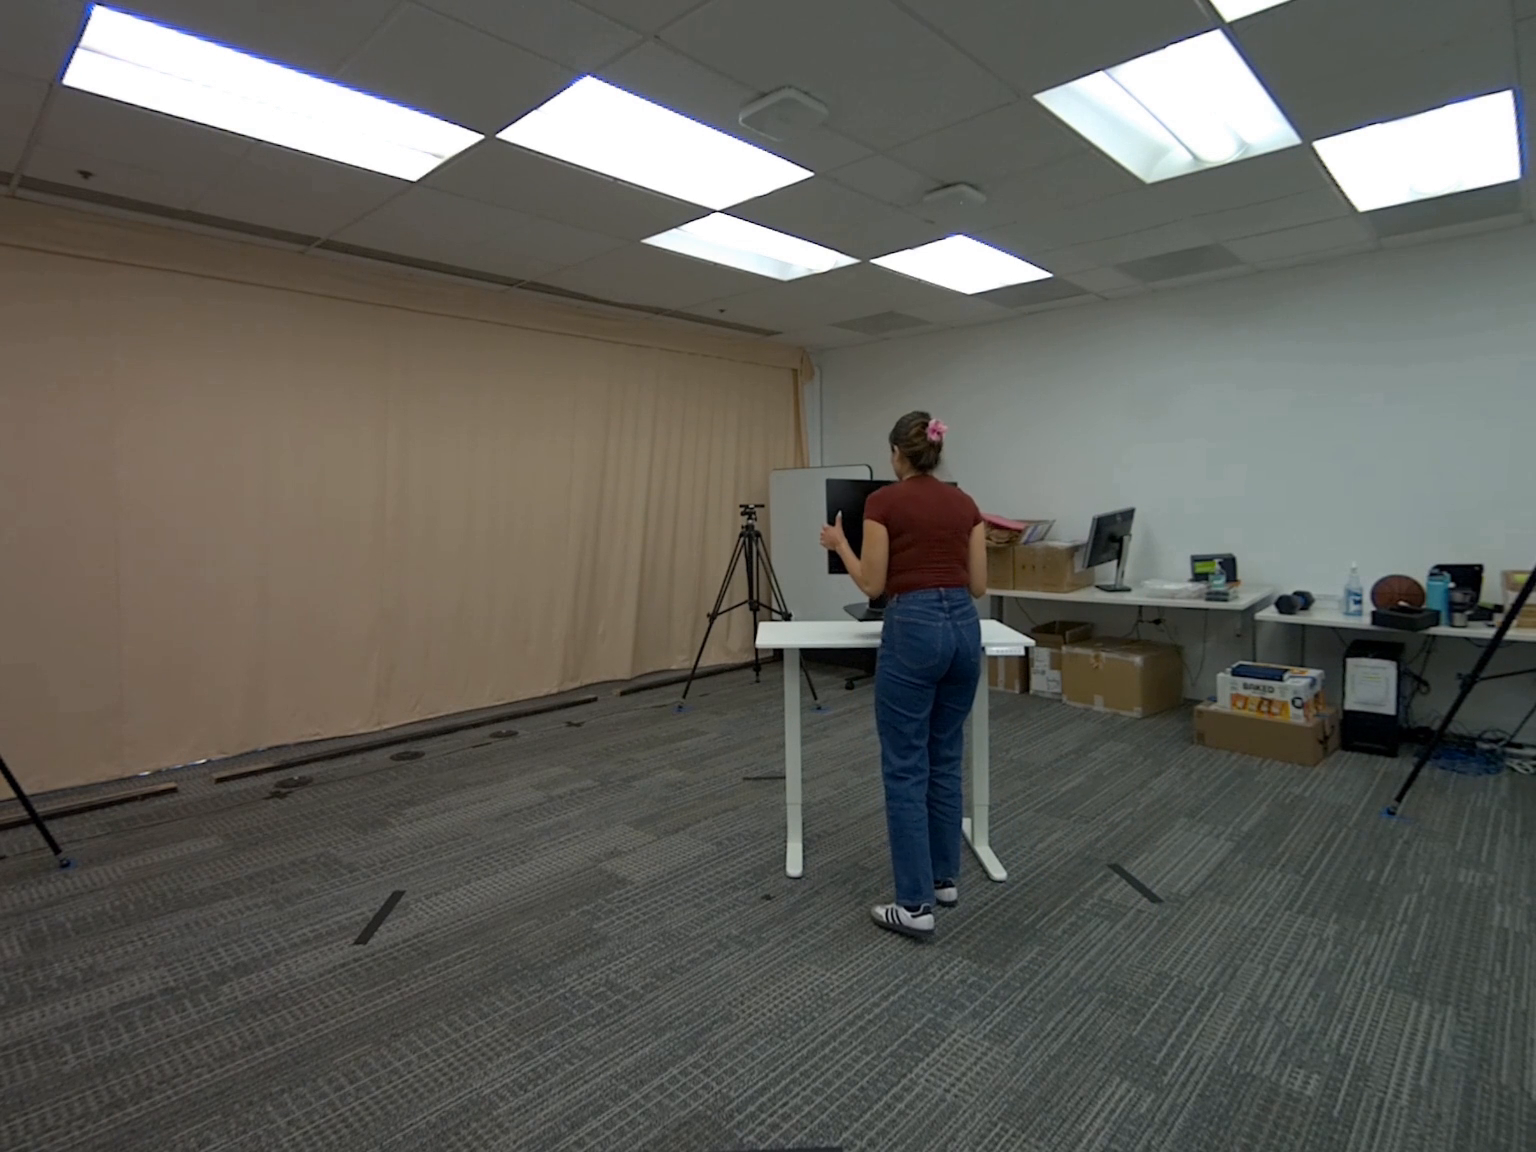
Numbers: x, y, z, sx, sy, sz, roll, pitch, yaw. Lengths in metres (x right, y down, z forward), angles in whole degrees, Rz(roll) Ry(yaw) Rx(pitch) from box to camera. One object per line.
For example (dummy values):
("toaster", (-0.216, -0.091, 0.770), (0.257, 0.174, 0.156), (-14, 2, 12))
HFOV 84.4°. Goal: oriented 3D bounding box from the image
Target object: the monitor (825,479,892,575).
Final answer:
("monitor", (0.467, -0.102, 3.203), (0.529, 0.519, 0.191), (-1, 11, -17))
